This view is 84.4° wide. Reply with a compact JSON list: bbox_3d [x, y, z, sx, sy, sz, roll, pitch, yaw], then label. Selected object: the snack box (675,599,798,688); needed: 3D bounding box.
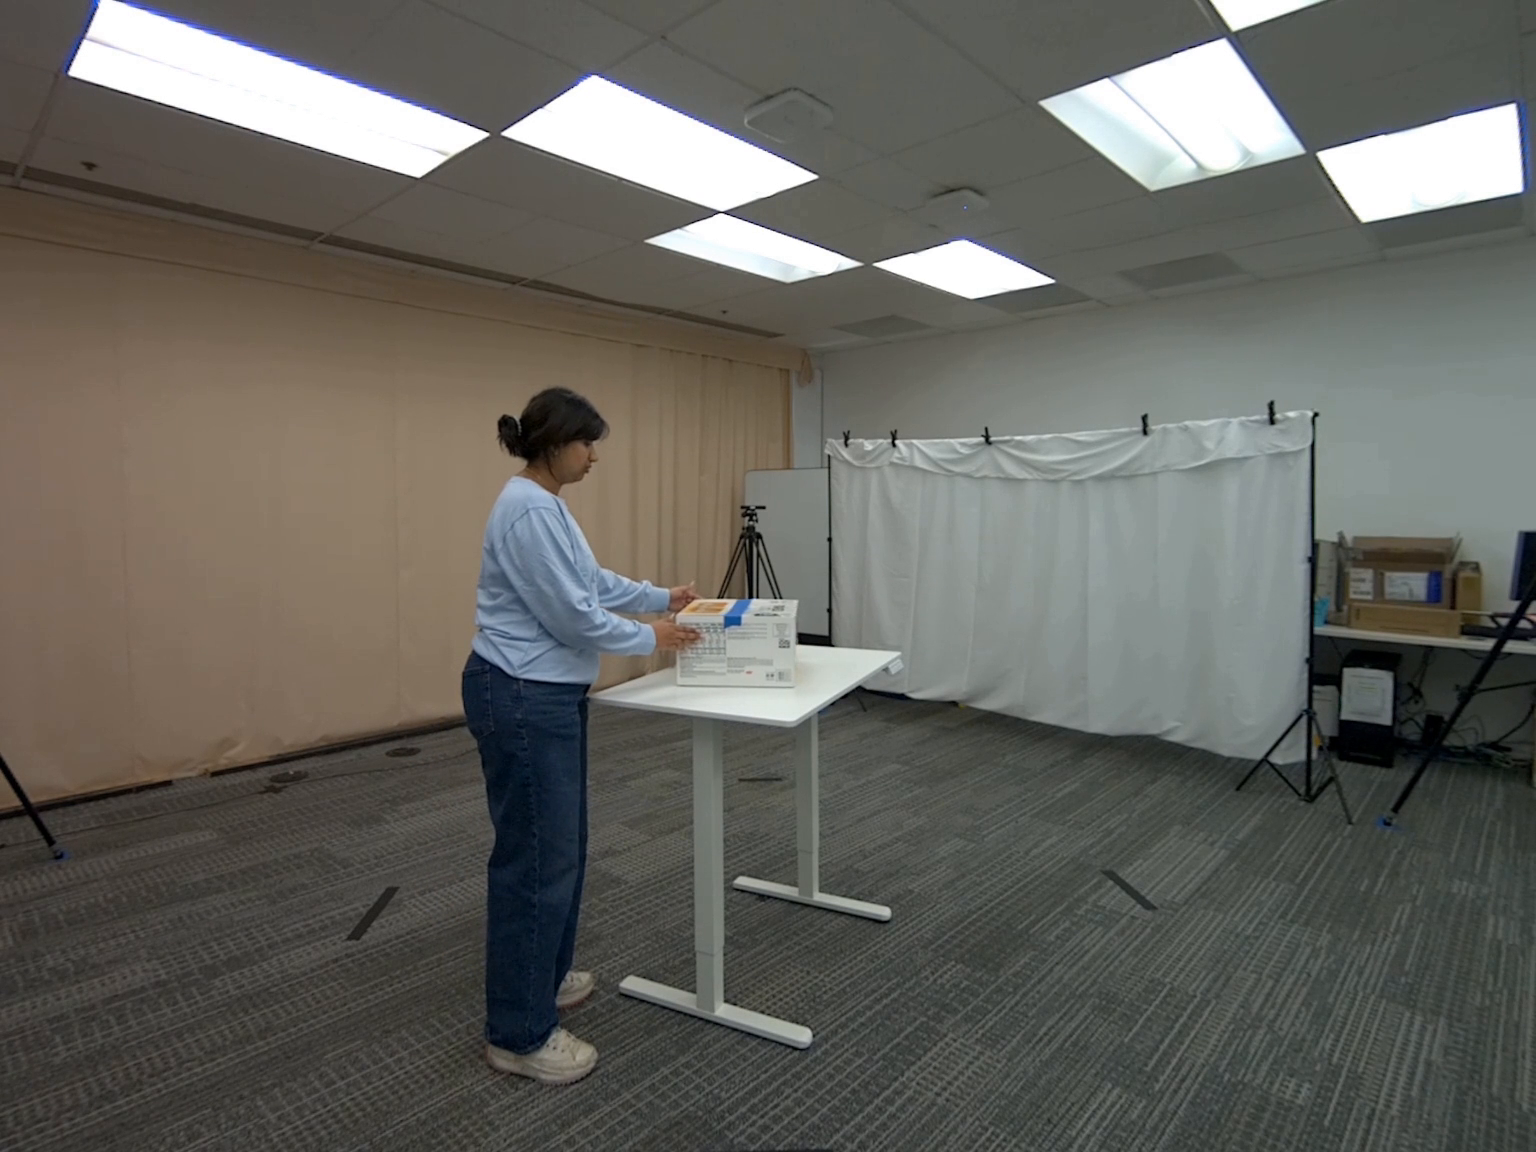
[{"bbox_3d":[-0.078,0.197,2.564,0.343,0.205,0.403,0,5,5],"label":"snack box"}]
